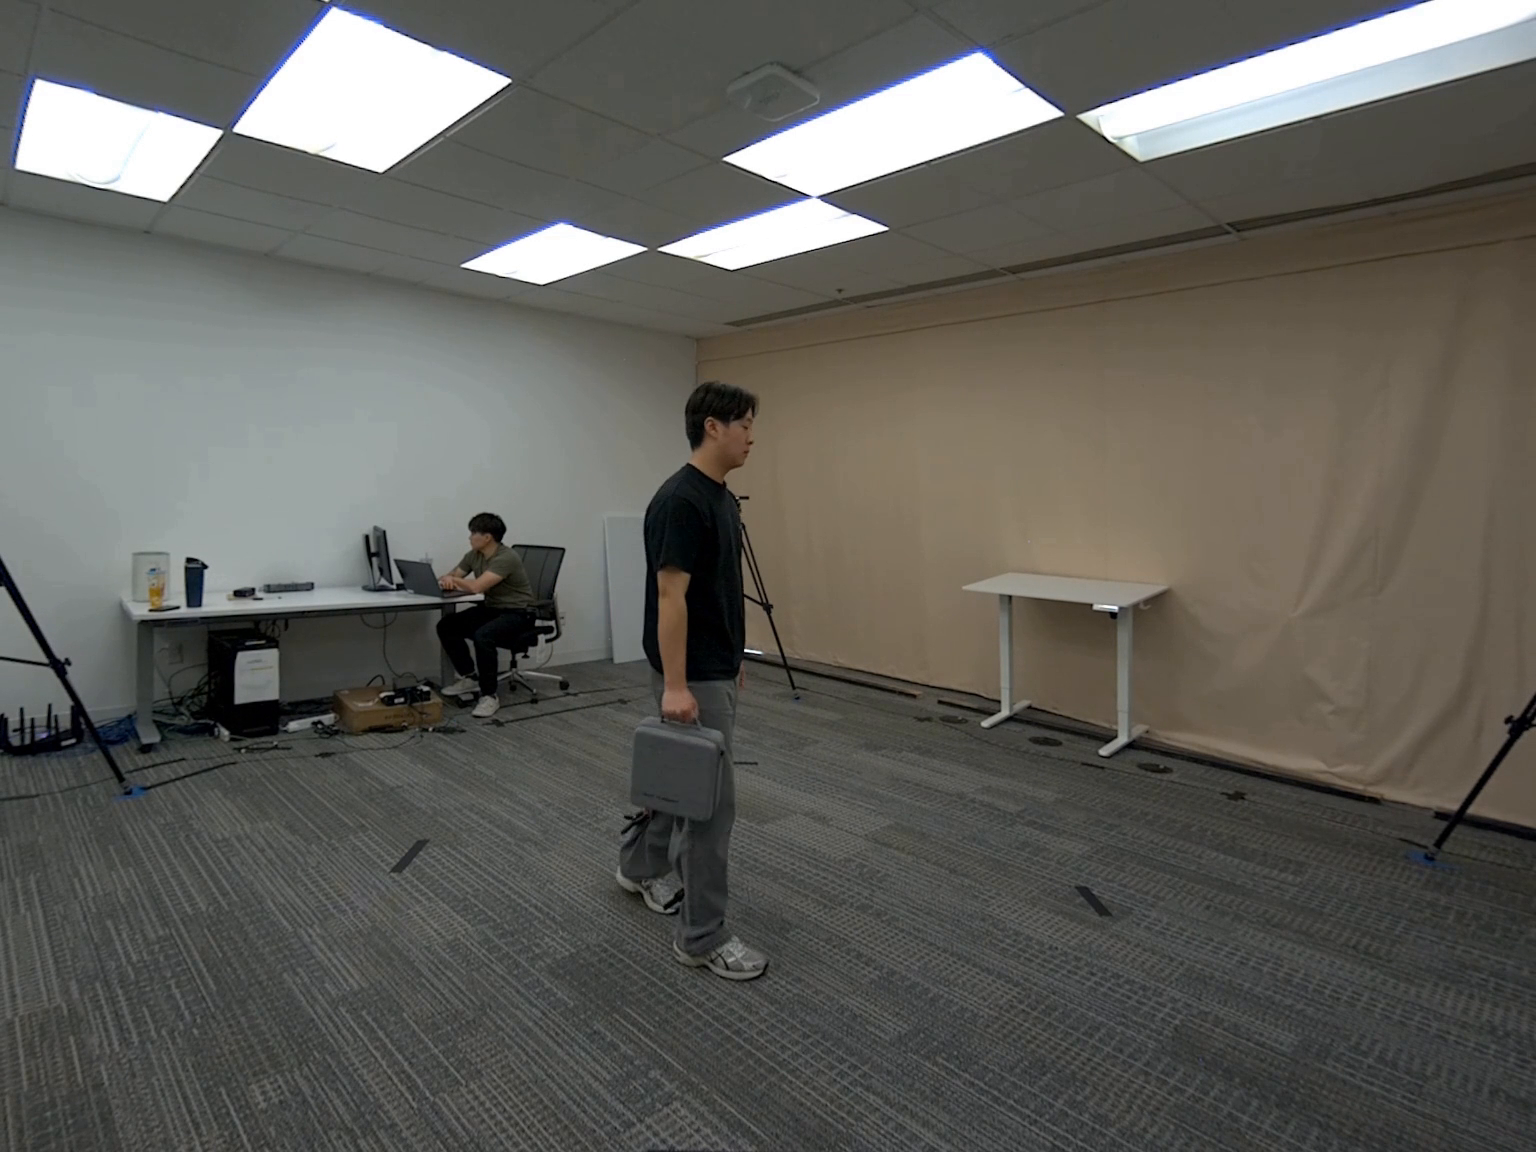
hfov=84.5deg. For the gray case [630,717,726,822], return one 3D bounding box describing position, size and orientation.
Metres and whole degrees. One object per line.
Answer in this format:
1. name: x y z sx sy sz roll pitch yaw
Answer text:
1. gray case: -0.267 0.534 2.389 0.267 0.284 0.102 12 15 15
